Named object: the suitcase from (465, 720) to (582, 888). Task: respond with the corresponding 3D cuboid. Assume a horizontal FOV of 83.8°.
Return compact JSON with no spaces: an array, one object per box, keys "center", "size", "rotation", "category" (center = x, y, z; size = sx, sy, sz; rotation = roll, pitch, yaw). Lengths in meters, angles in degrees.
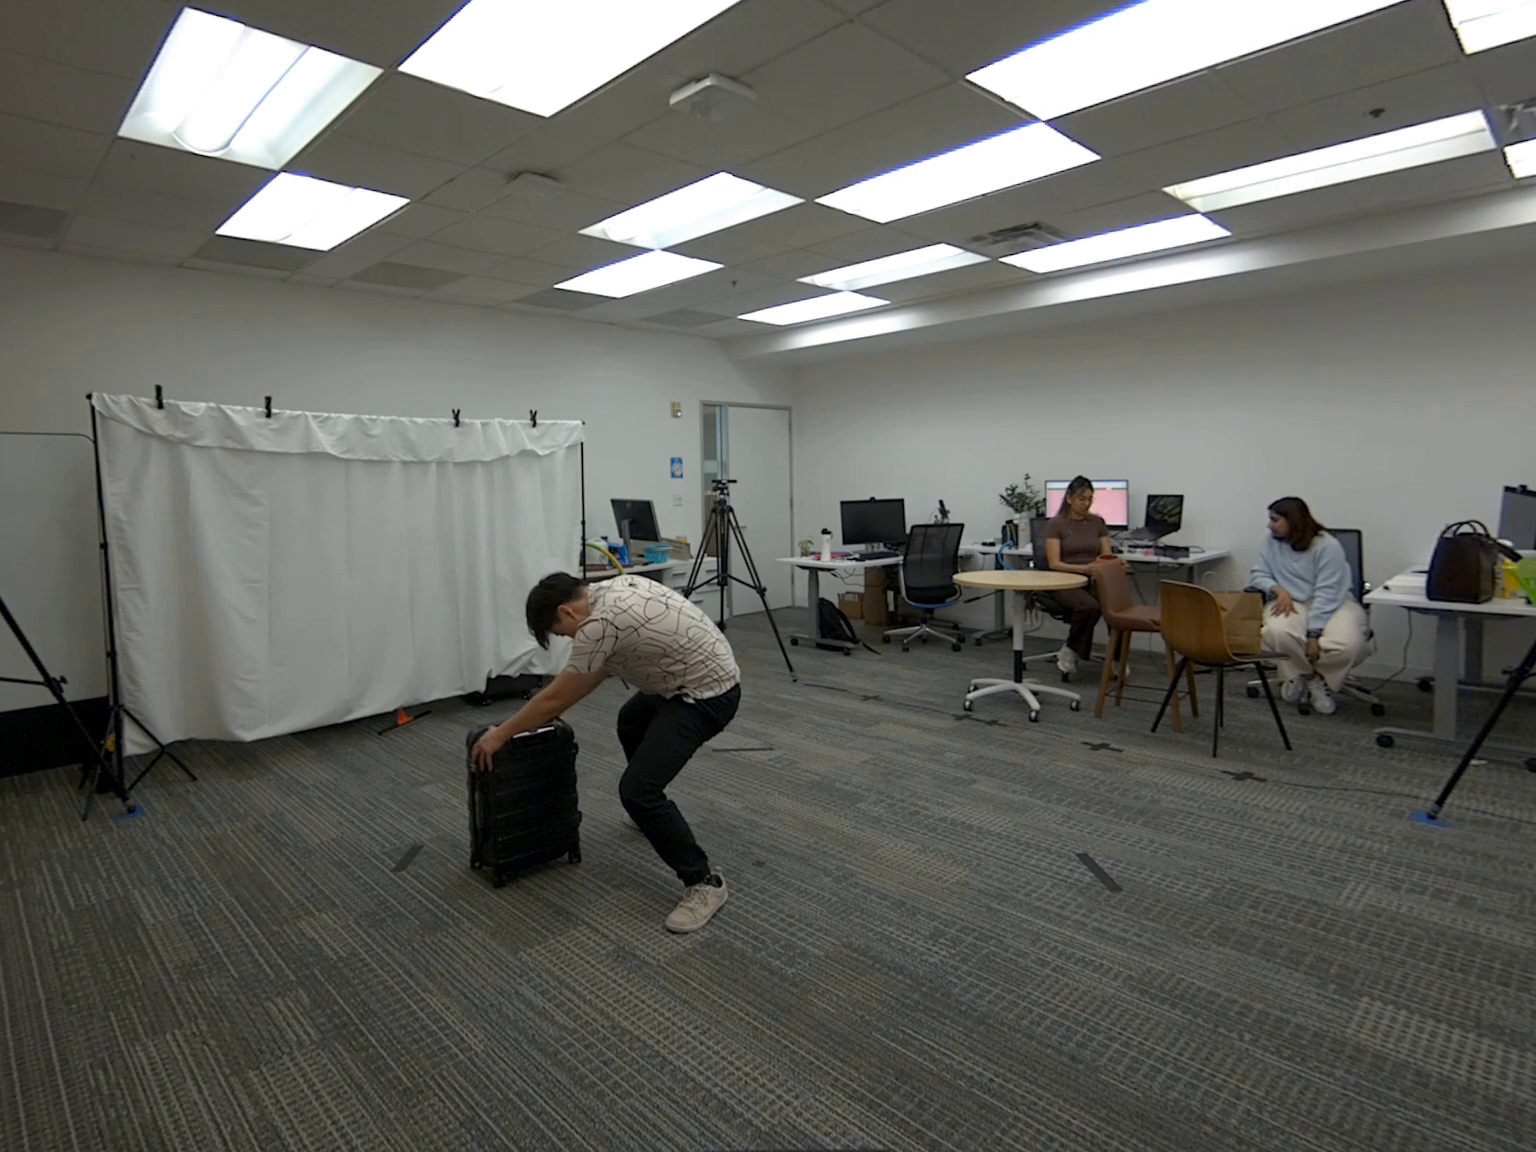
[{"center":[-0.893,0.790,3.106],"size":[0.366,0.547,0.256],"rotation":[-5,7,-38],"category":"suitcase"}]
